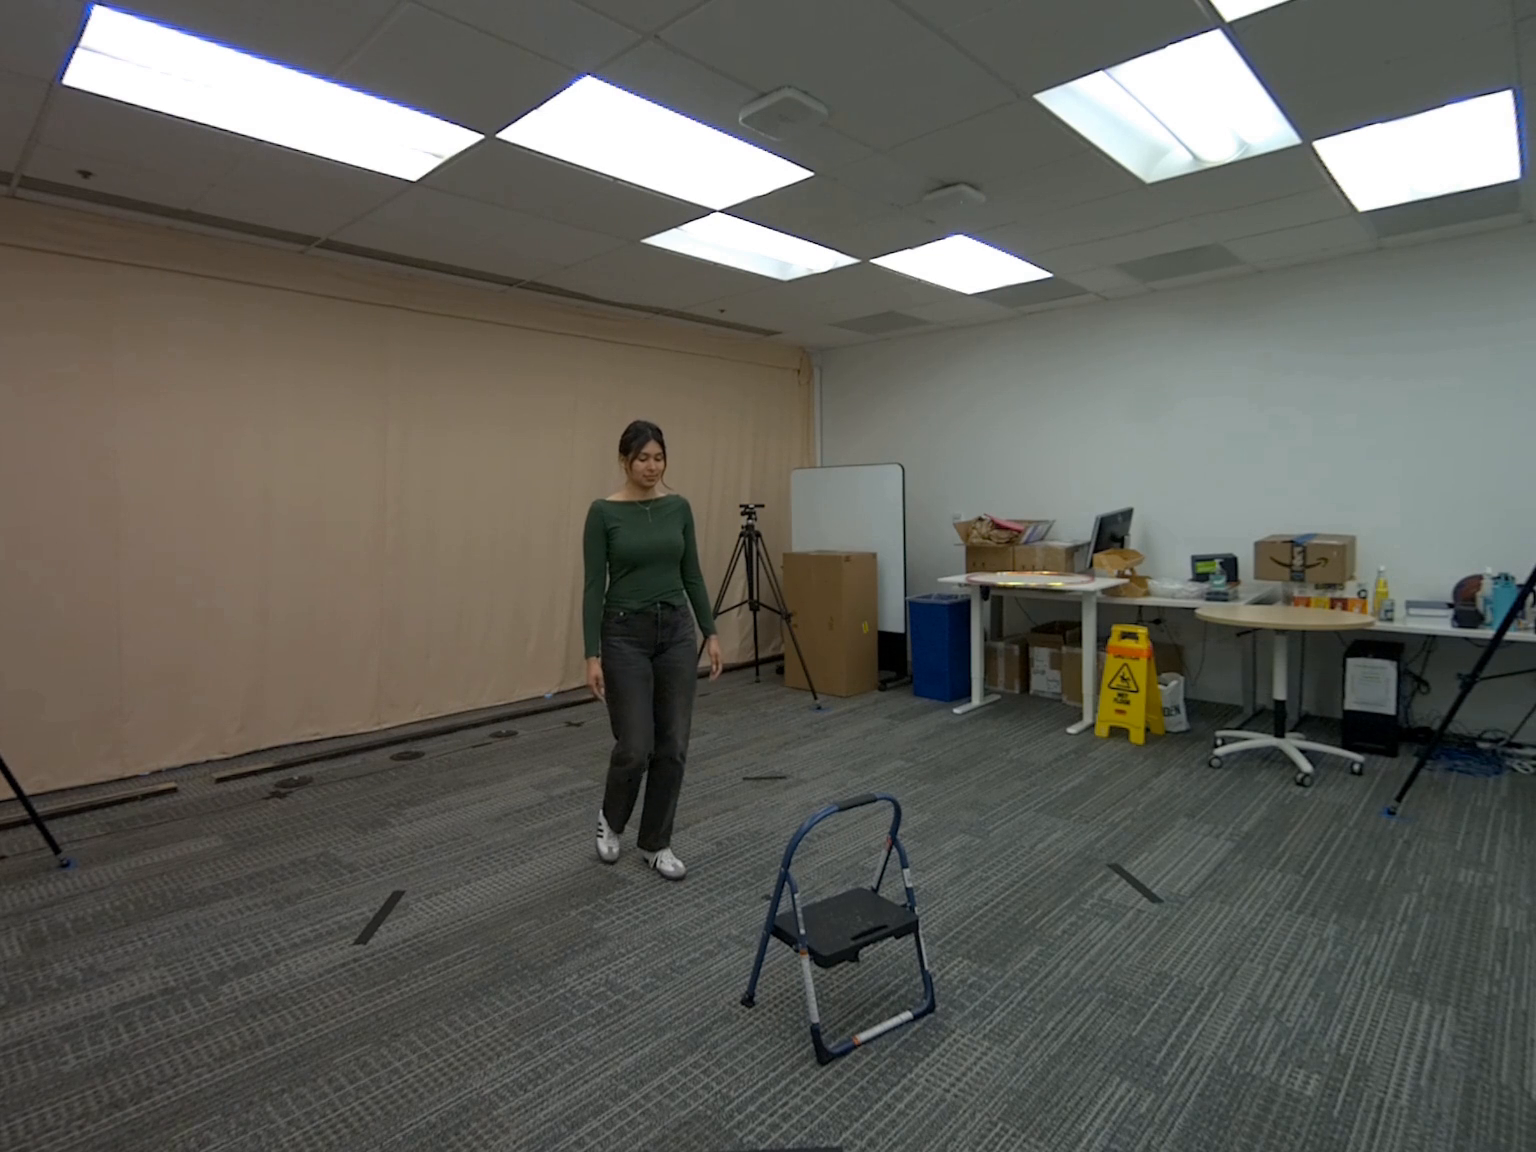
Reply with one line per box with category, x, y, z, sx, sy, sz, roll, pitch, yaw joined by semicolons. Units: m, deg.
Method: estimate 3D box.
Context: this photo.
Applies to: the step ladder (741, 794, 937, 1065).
step ladder;0.194;0.890;2.317;0.418;0.604;0.360;-4;5;-36
